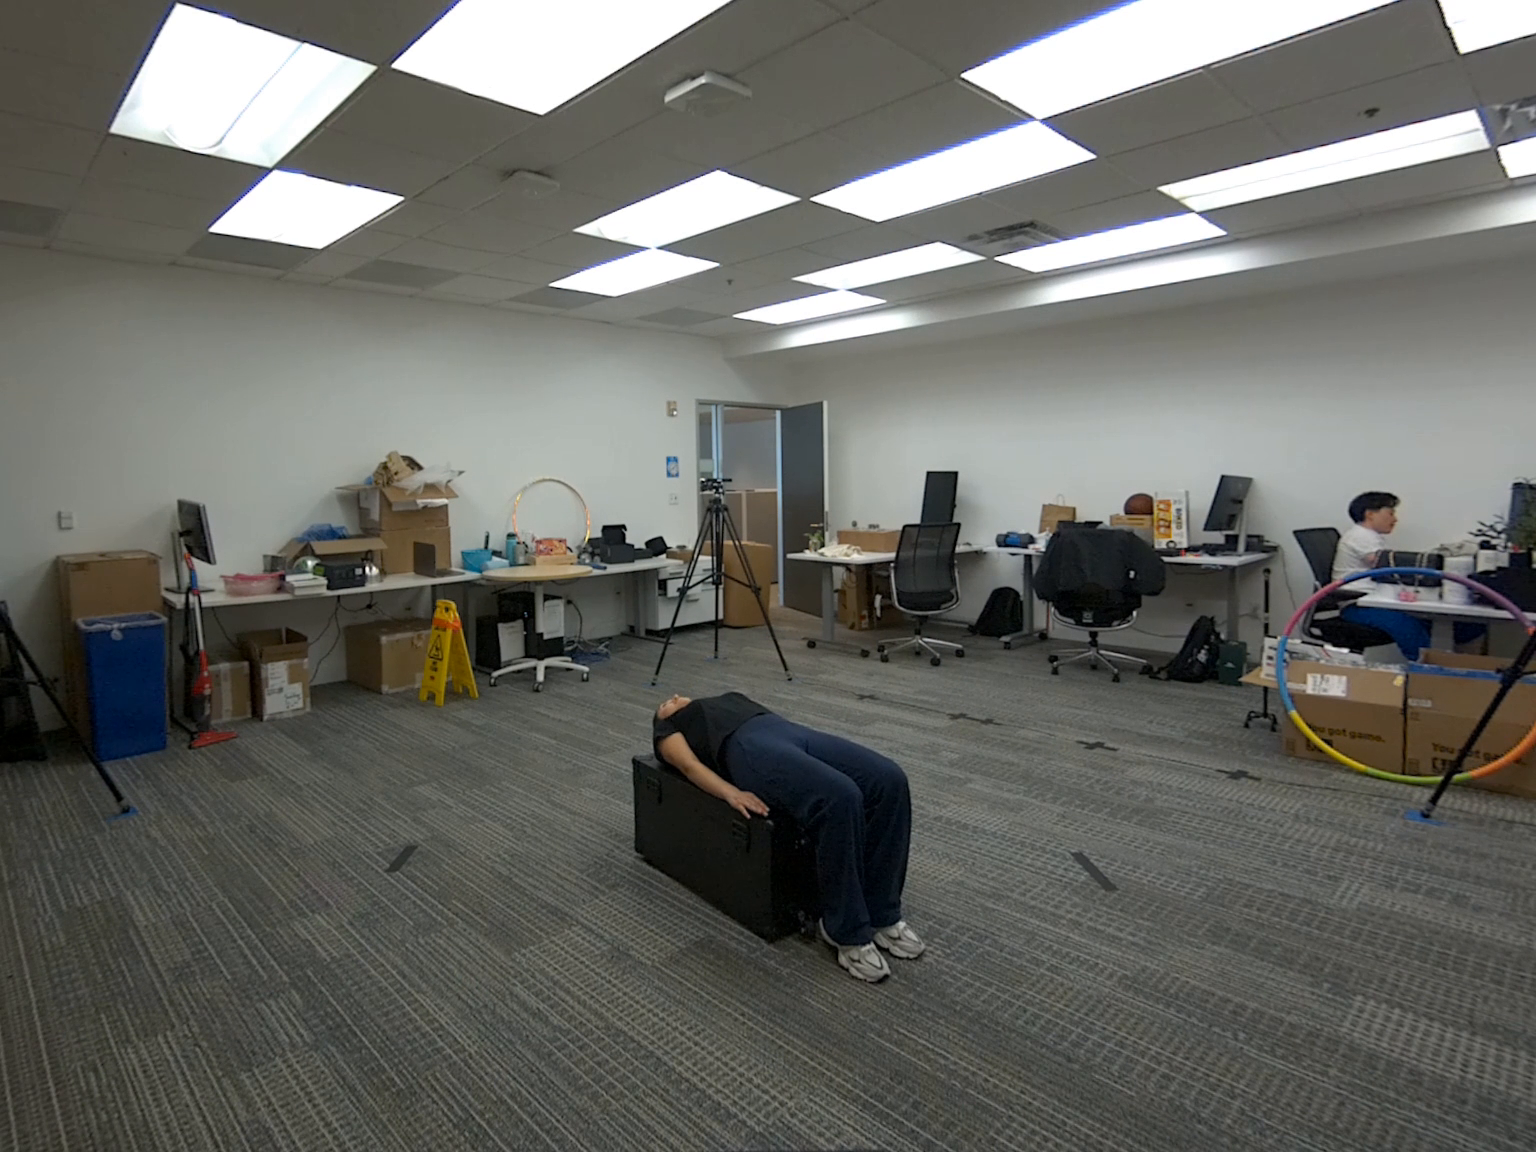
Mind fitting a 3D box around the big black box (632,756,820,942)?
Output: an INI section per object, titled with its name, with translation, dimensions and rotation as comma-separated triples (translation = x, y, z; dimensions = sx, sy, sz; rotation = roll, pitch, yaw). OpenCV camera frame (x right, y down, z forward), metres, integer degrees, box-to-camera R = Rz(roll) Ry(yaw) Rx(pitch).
[big black box]
translation = -0.078, 0.874, 3.034
dimensions = 0.508, 0.394, 0.889
rotation = -5, 9, -39
